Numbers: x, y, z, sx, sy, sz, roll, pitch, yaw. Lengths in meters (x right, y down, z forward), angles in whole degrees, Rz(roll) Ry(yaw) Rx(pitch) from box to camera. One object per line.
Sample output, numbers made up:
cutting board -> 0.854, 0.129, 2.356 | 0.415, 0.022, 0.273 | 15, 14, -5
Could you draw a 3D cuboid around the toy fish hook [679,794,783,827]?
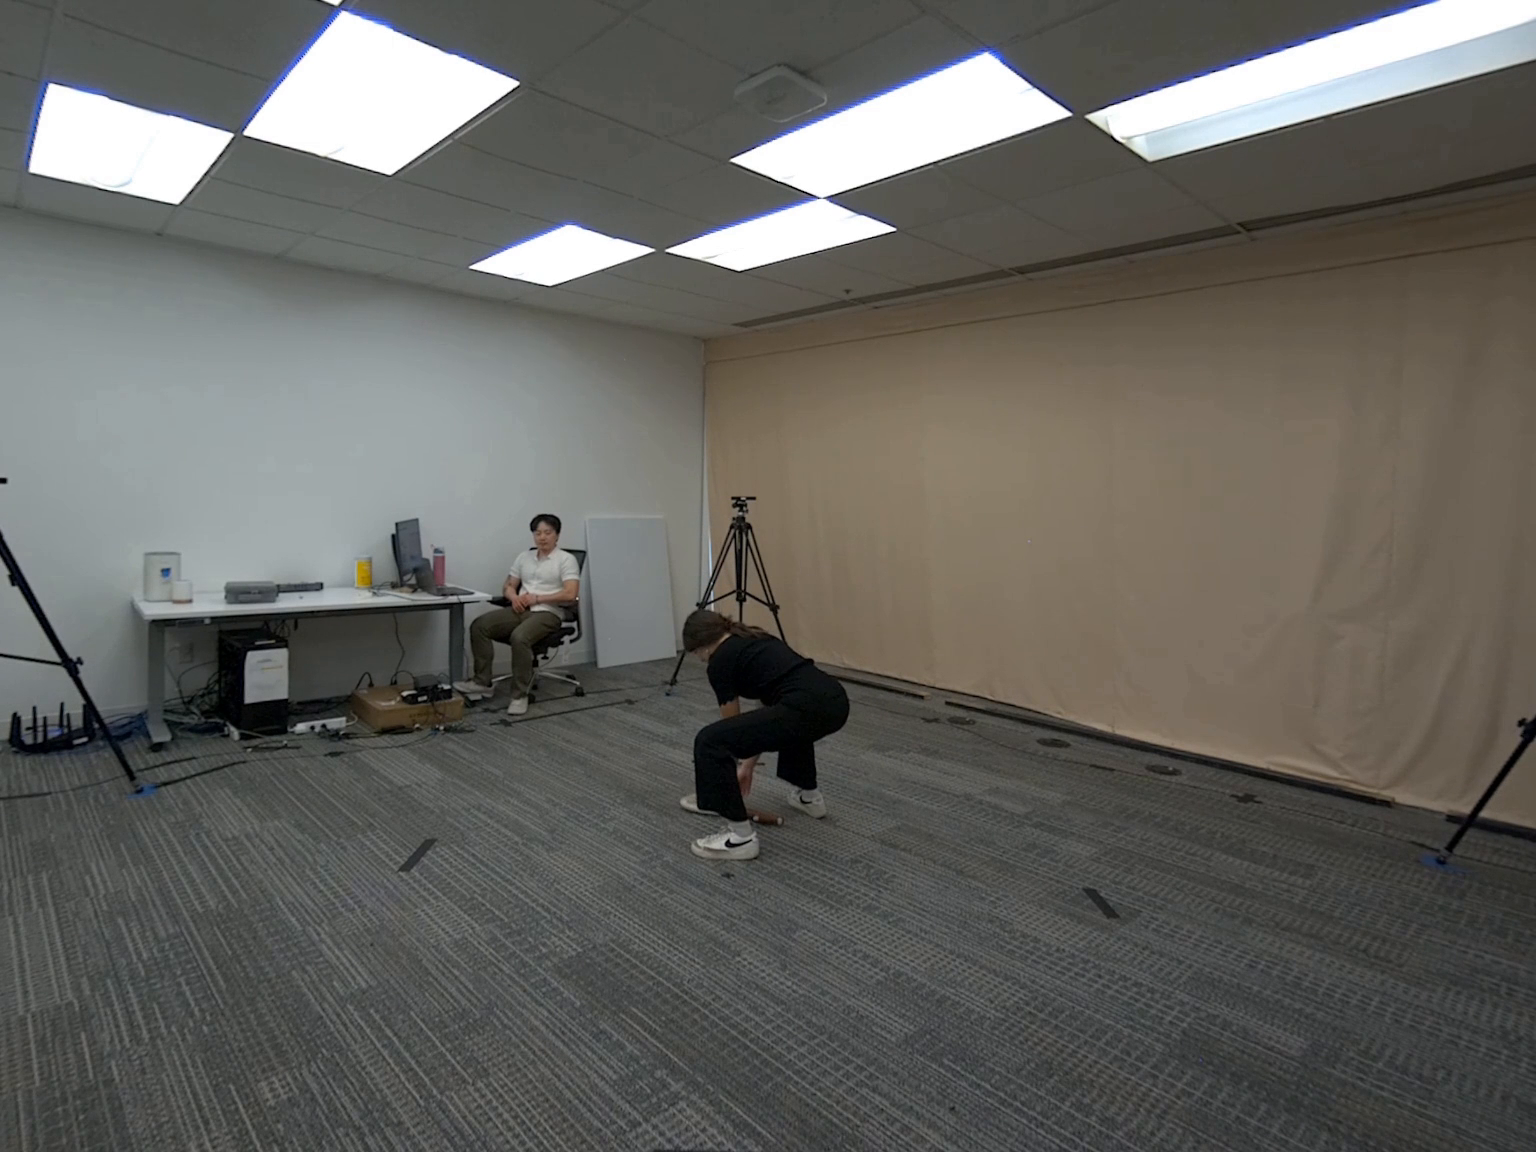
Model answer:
toy fish hook -> -0.149, 1.023, 3.735 | 0.516, 0.048, 0.221 | 4, 8, 25
